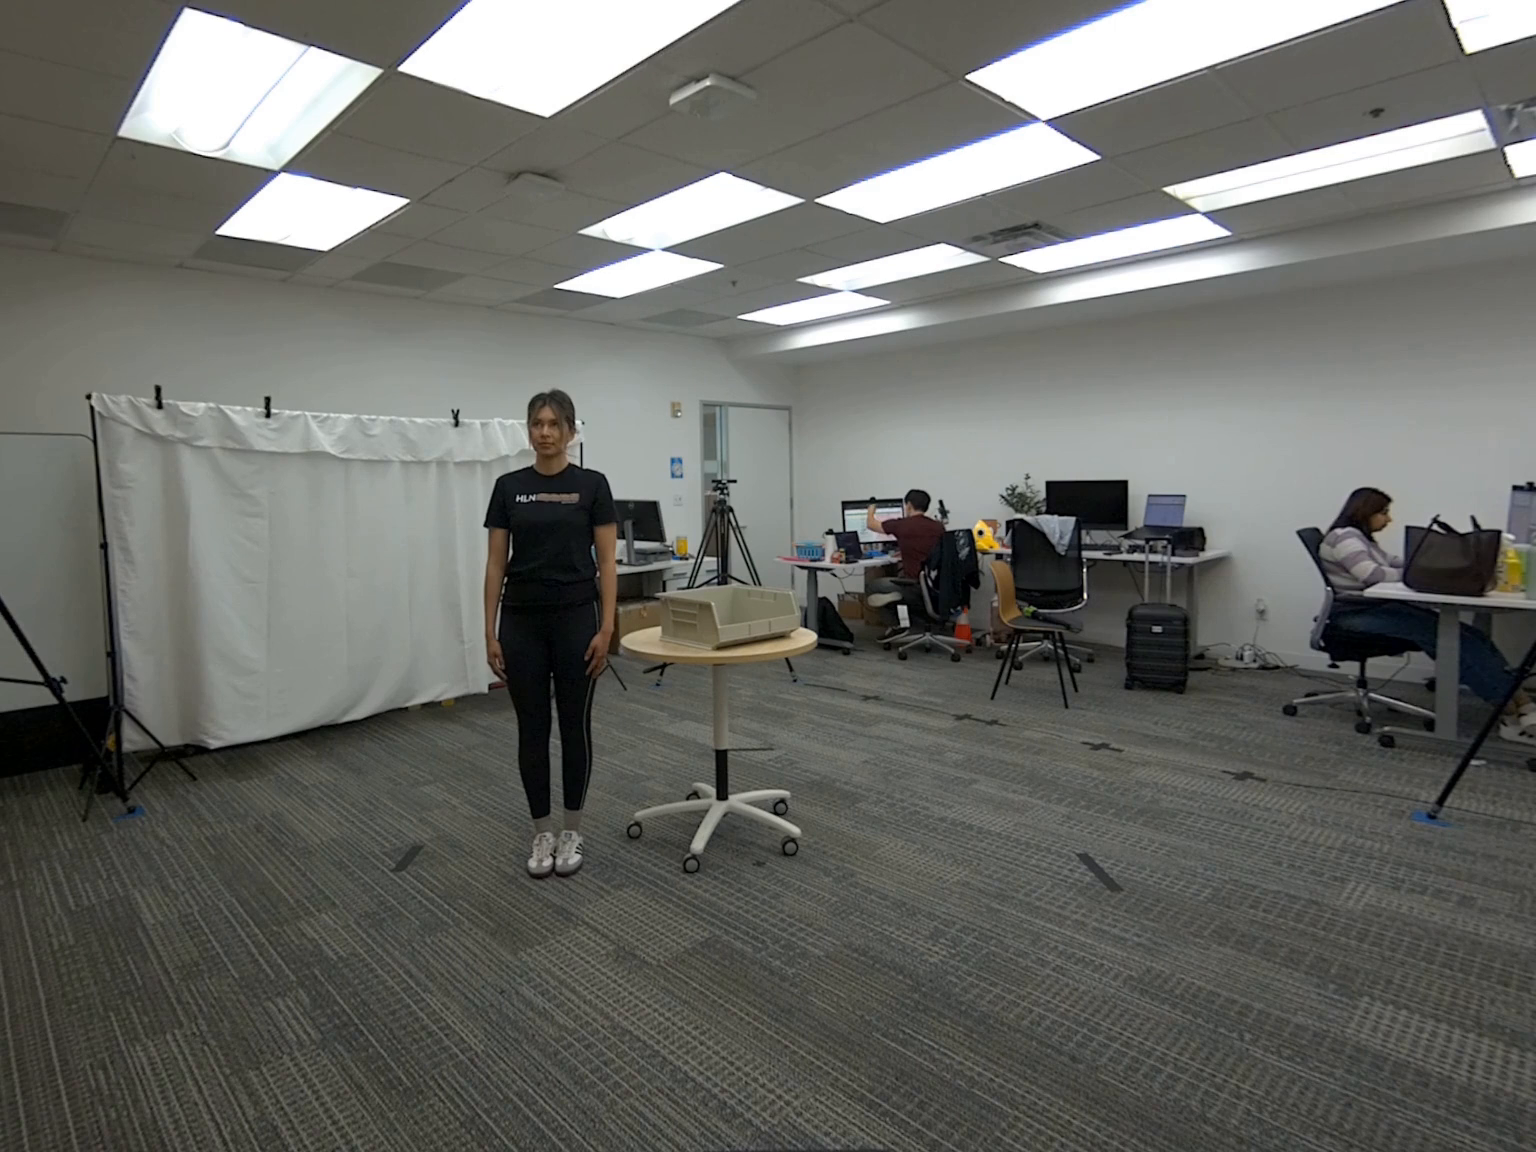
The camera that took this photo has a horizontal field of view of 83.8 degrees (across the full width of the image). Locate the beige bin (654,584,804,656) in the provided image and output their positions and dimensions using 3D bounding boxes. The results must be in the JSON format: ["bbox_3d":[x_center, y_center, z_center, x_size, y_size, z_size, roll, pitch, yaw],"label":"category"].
[{"bbox_3d":[-0.151,0.155,3.290,0.411,0.188,0.389,-6,6,-41],"label":"beige bin"}]
